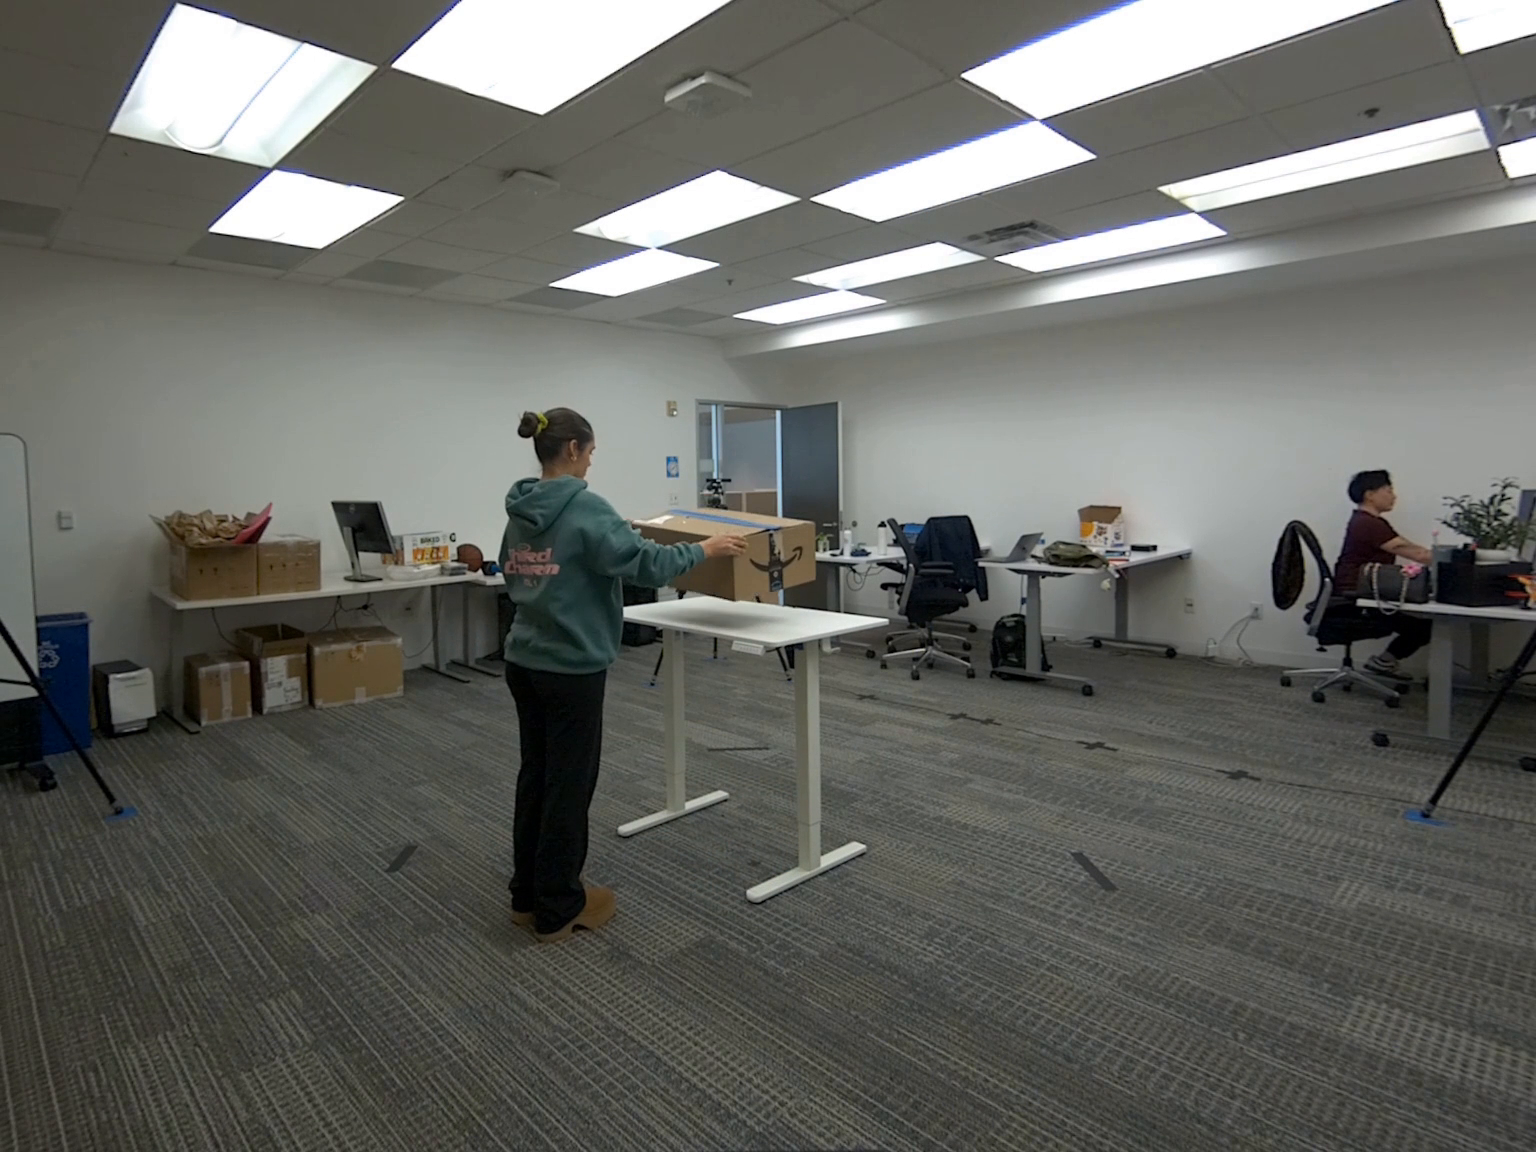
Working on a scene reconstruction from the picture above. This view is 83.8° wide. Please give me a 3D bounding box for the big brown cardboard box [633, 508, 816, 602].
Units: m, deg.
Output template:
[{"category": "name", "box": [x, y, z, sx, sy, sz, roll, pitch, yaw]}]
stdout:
[{"category": "big brown cardboard box", "box": [-0.181, -0.094, 3.150, 0.609, 0.230, 0.408, 12, 19, 43]}]
